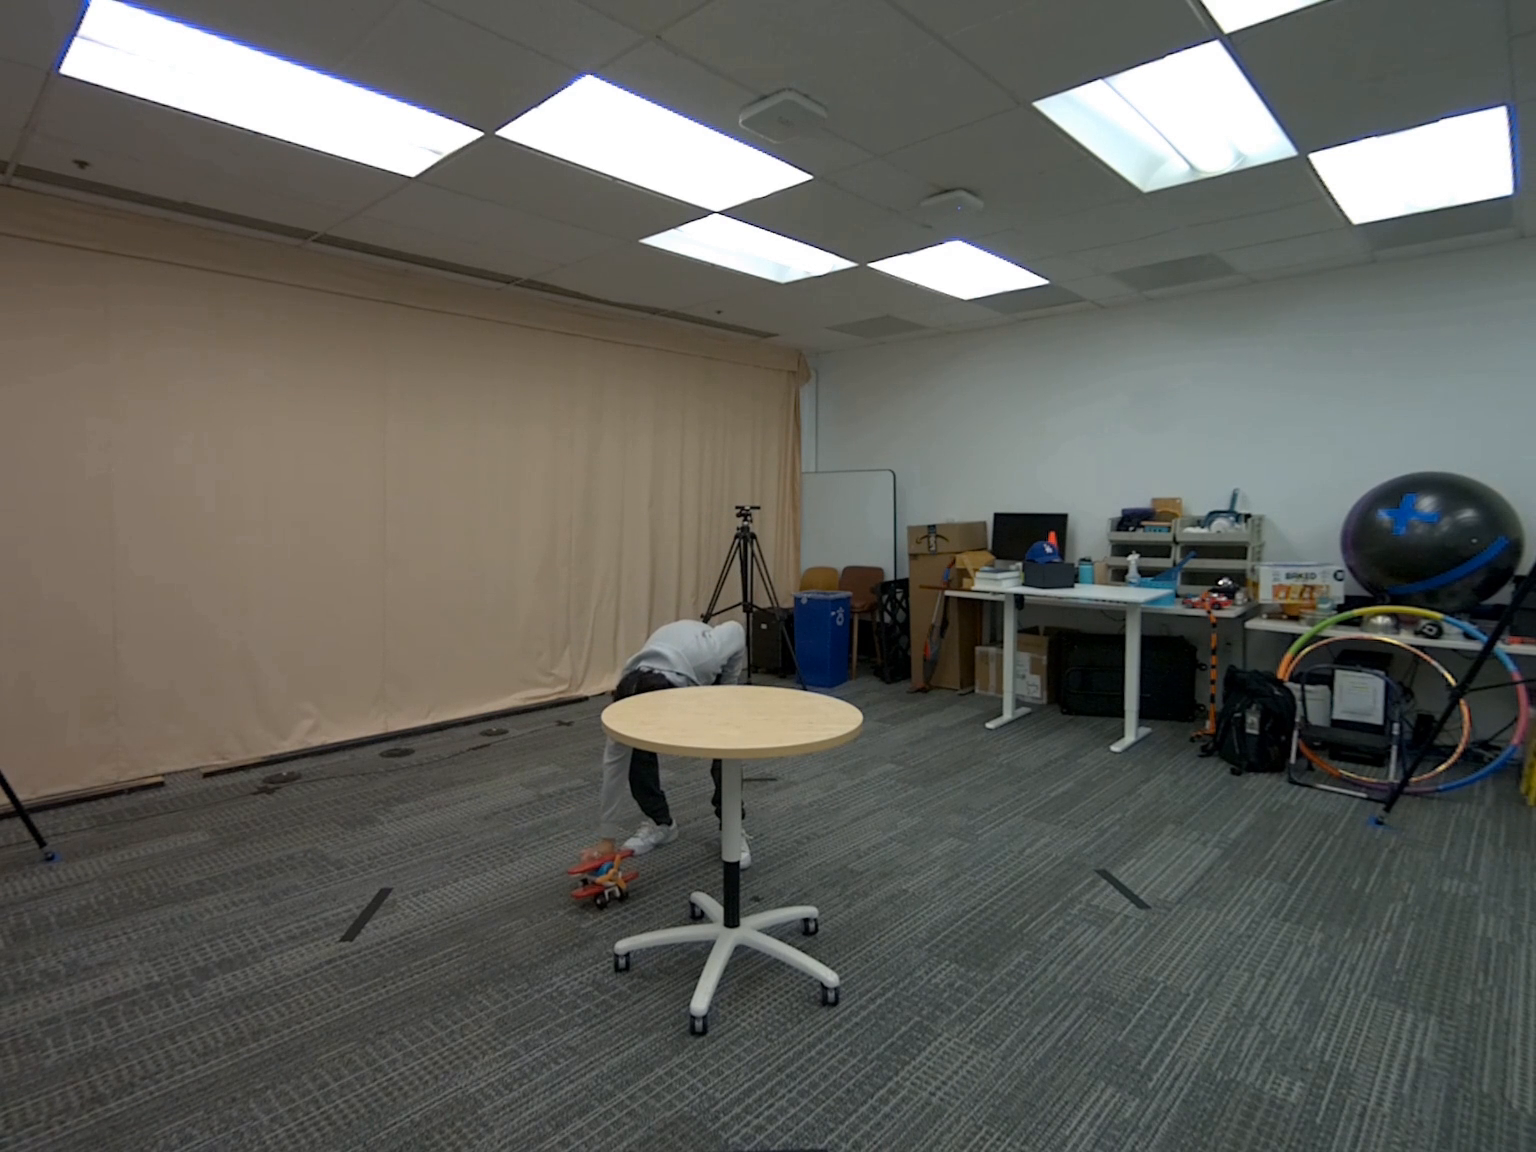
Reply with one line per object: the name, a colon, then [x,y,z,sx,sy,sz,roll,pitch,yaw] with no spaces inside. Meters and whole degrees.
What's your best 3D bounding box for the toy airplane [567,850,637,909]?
toy airplane: [-0.618,1.074,3.004,0.266,0.156,0.245,0,7,27]
